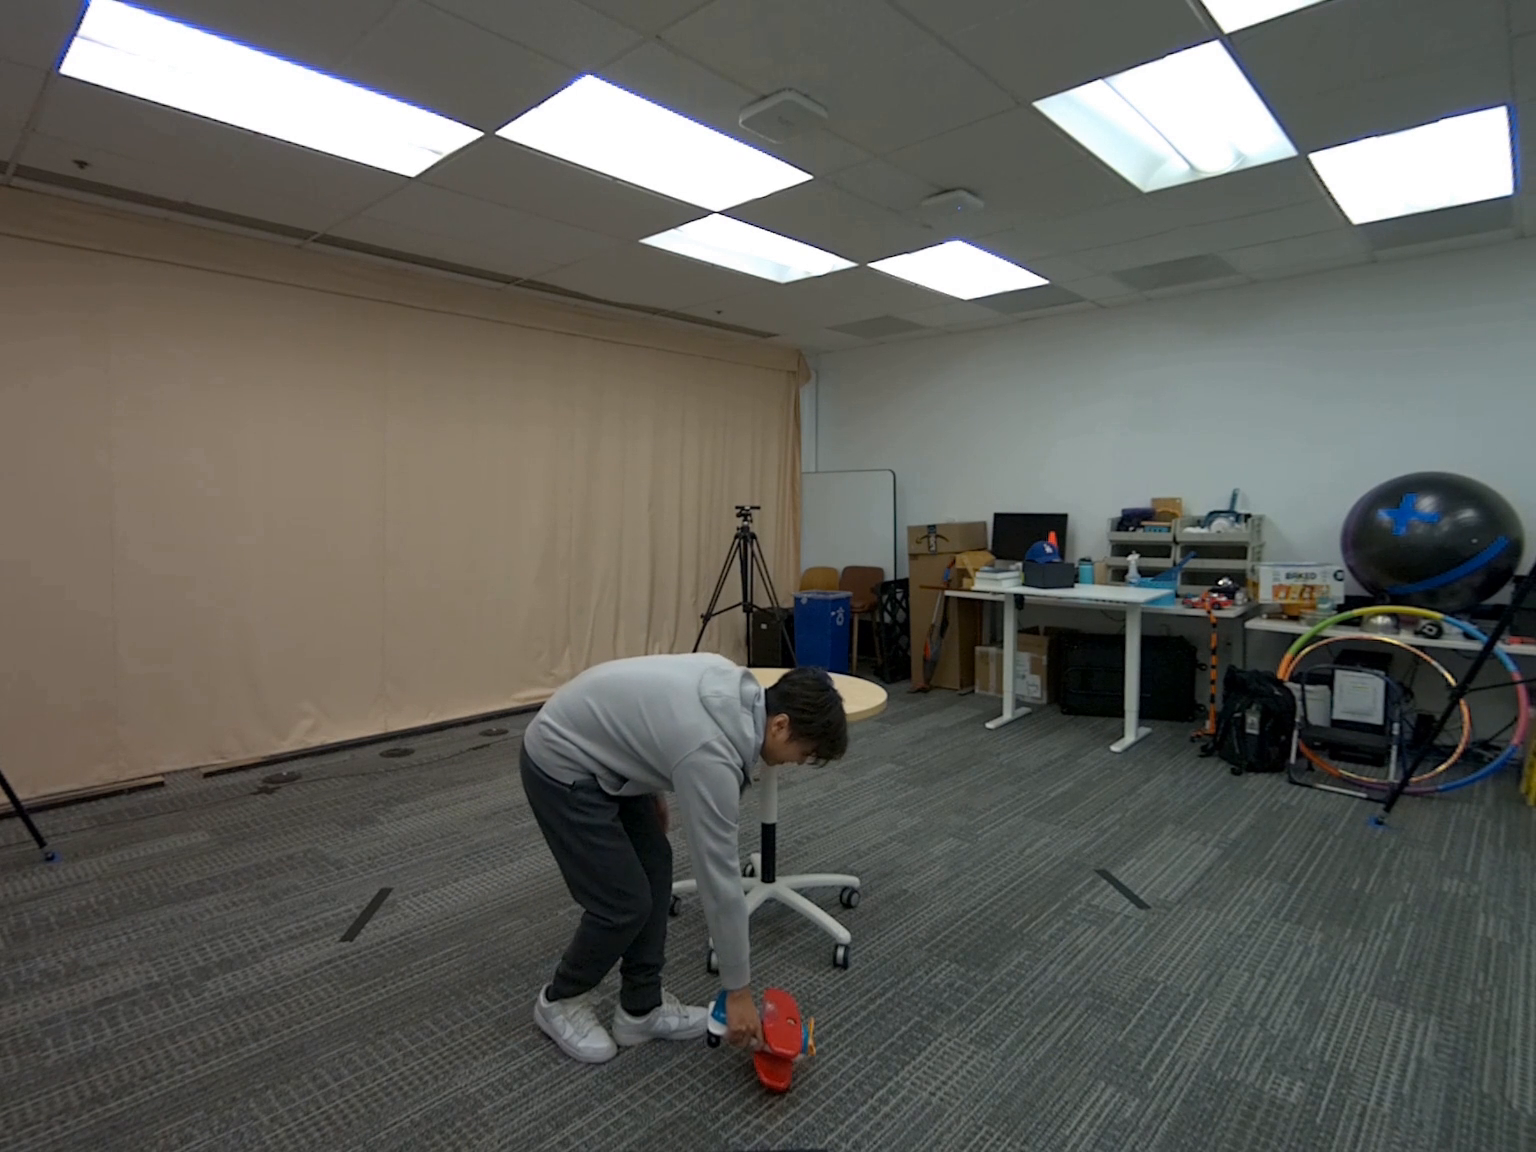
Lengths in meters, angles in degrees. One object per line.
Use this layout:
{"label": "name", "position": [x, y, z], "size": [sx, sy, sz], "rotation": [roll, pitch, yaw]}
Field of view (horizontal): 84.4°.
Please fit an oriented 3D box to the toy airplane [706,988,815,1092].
{"label": "toy airplane", "position": [-0.022, 1.117, 2.013], "size": [0.251, 0.156, 0.259], "rotation": [31, 3, -30]}
